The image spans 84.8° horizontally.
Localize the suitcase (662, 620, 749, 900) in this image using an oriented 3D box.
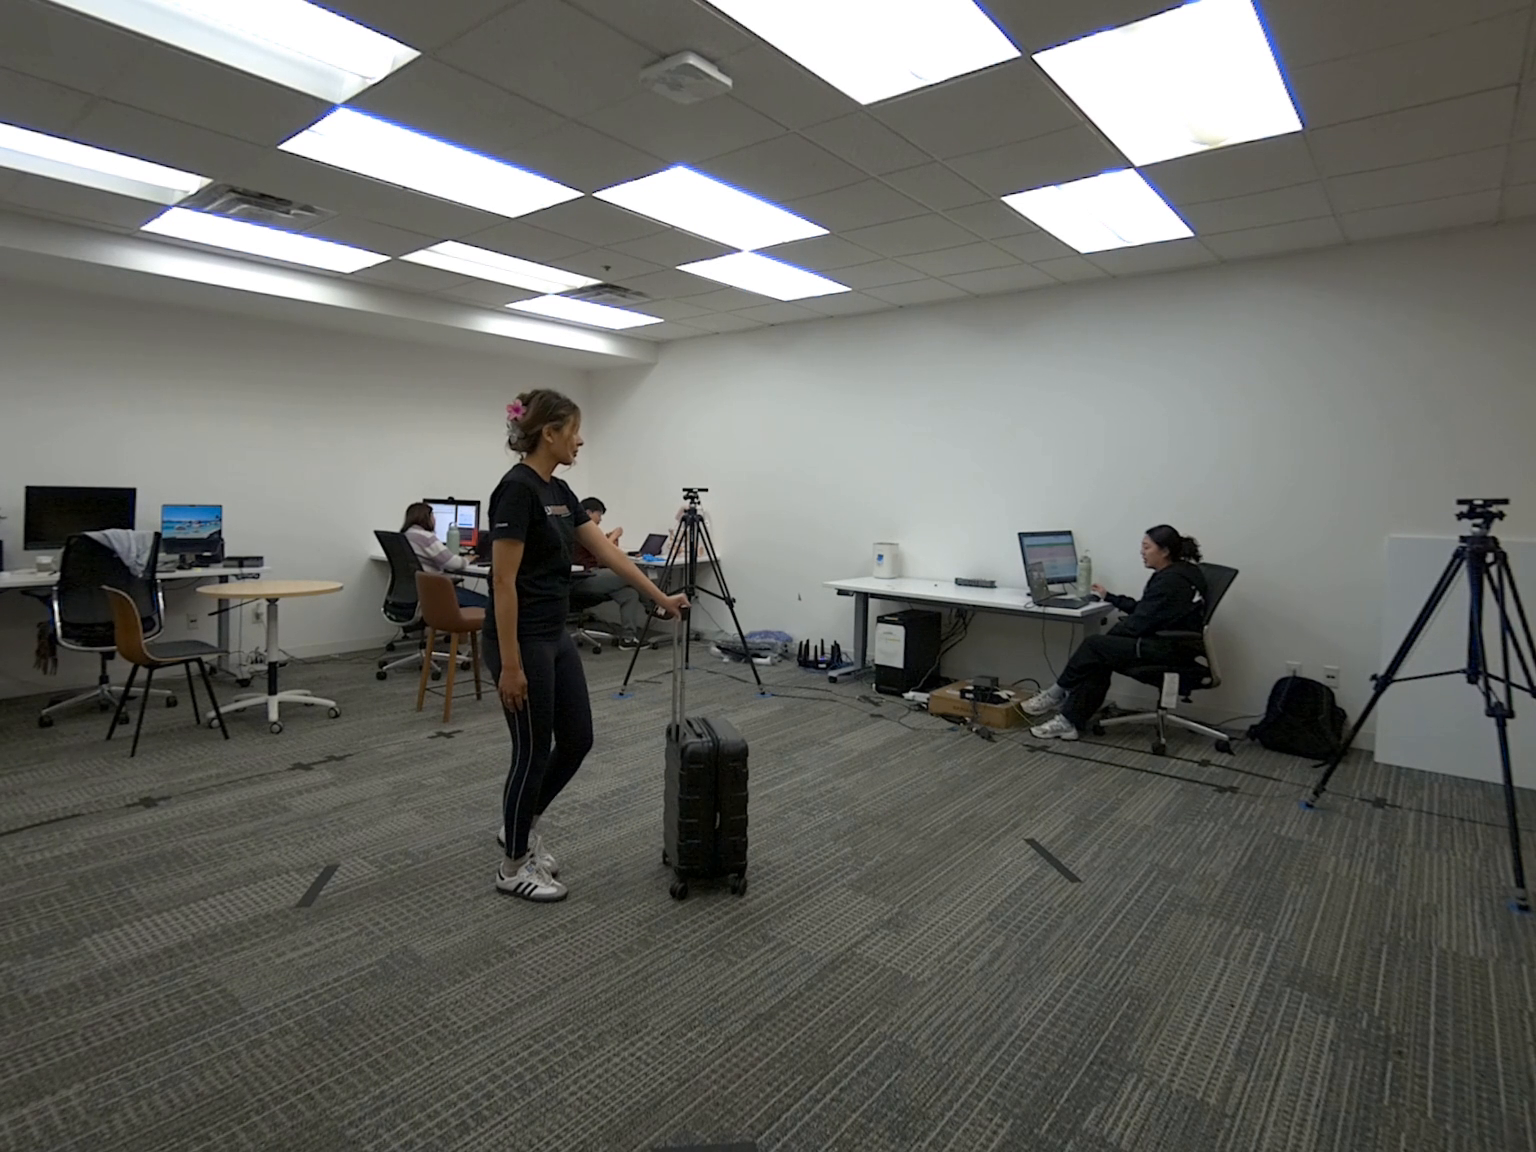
[{"bbox_3d":[-0.228,0.597,3.046,0.253,0.977,0.390,3,2,-14],"label":"suitcase"}]
